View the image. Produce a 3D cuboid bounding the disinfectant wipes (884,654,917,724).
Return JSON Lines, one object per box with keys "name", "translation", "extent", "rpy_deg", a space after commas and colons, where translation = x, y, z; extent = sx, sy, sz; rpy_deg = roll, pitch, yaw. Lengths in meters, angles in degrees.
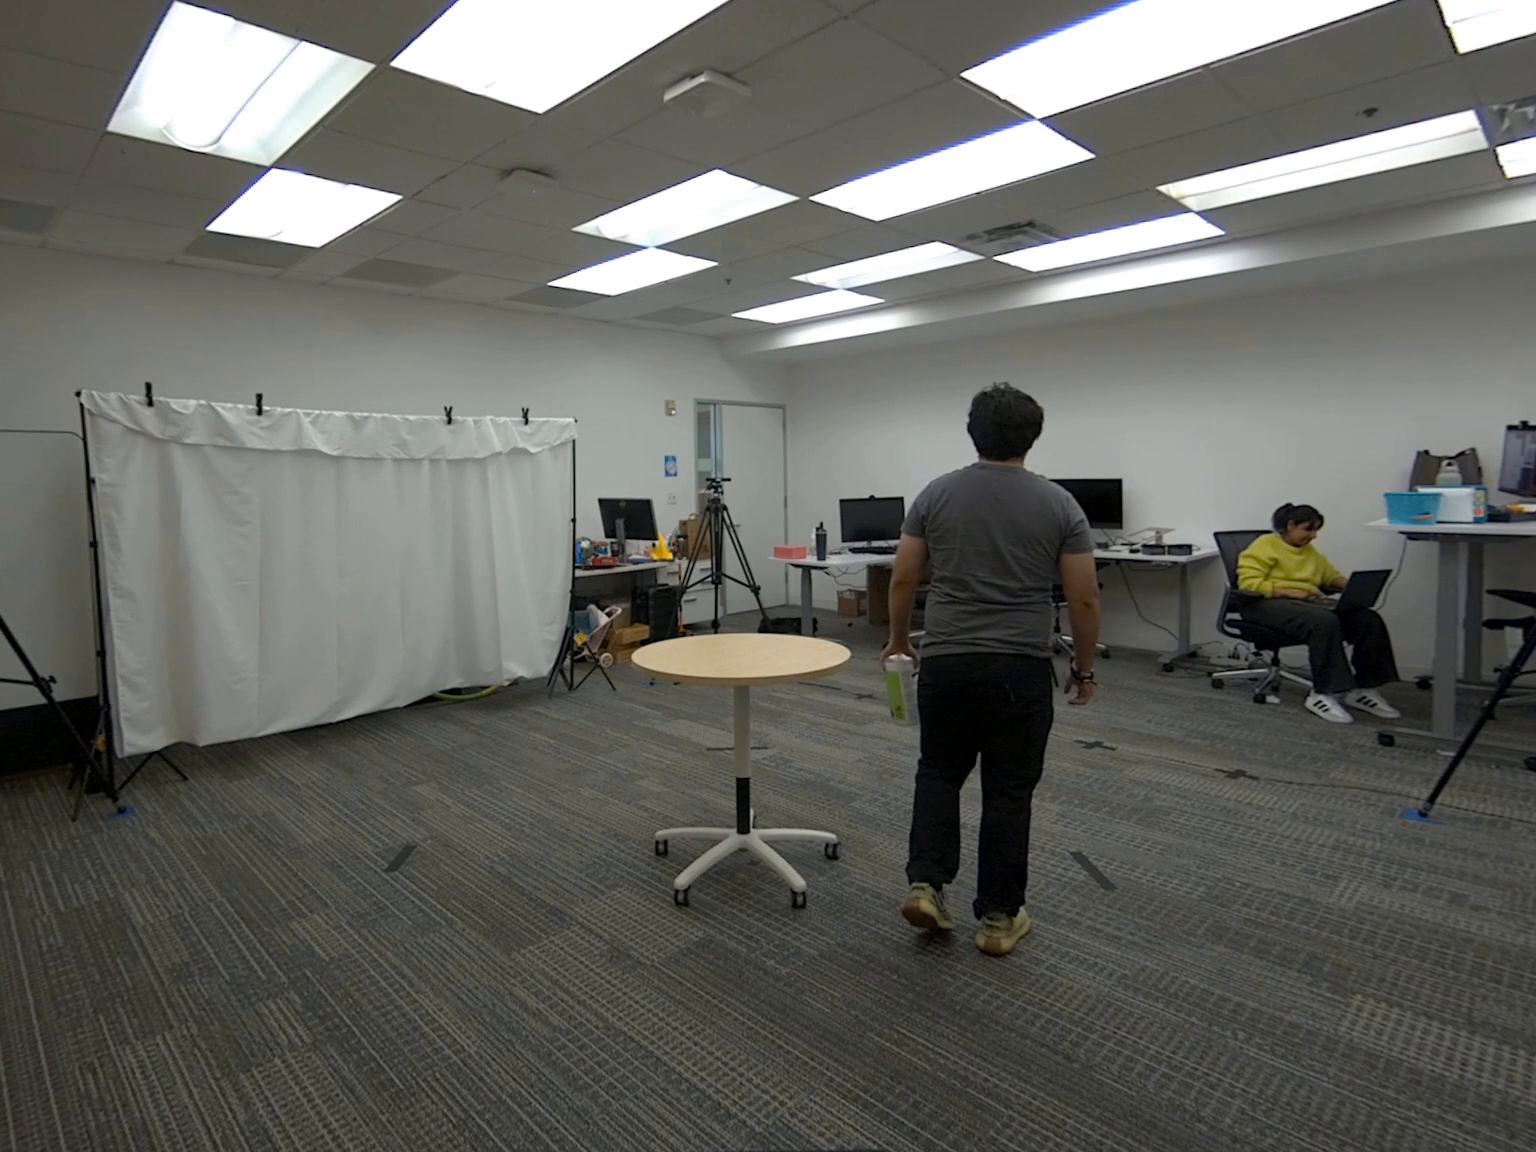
{"name": "disinfectant wipes", "translation": [0.443, 0.380, 2.820], "extent": [0.118, 0.216, 0.118], "rpy_deg": [-10, 6, 0]}
